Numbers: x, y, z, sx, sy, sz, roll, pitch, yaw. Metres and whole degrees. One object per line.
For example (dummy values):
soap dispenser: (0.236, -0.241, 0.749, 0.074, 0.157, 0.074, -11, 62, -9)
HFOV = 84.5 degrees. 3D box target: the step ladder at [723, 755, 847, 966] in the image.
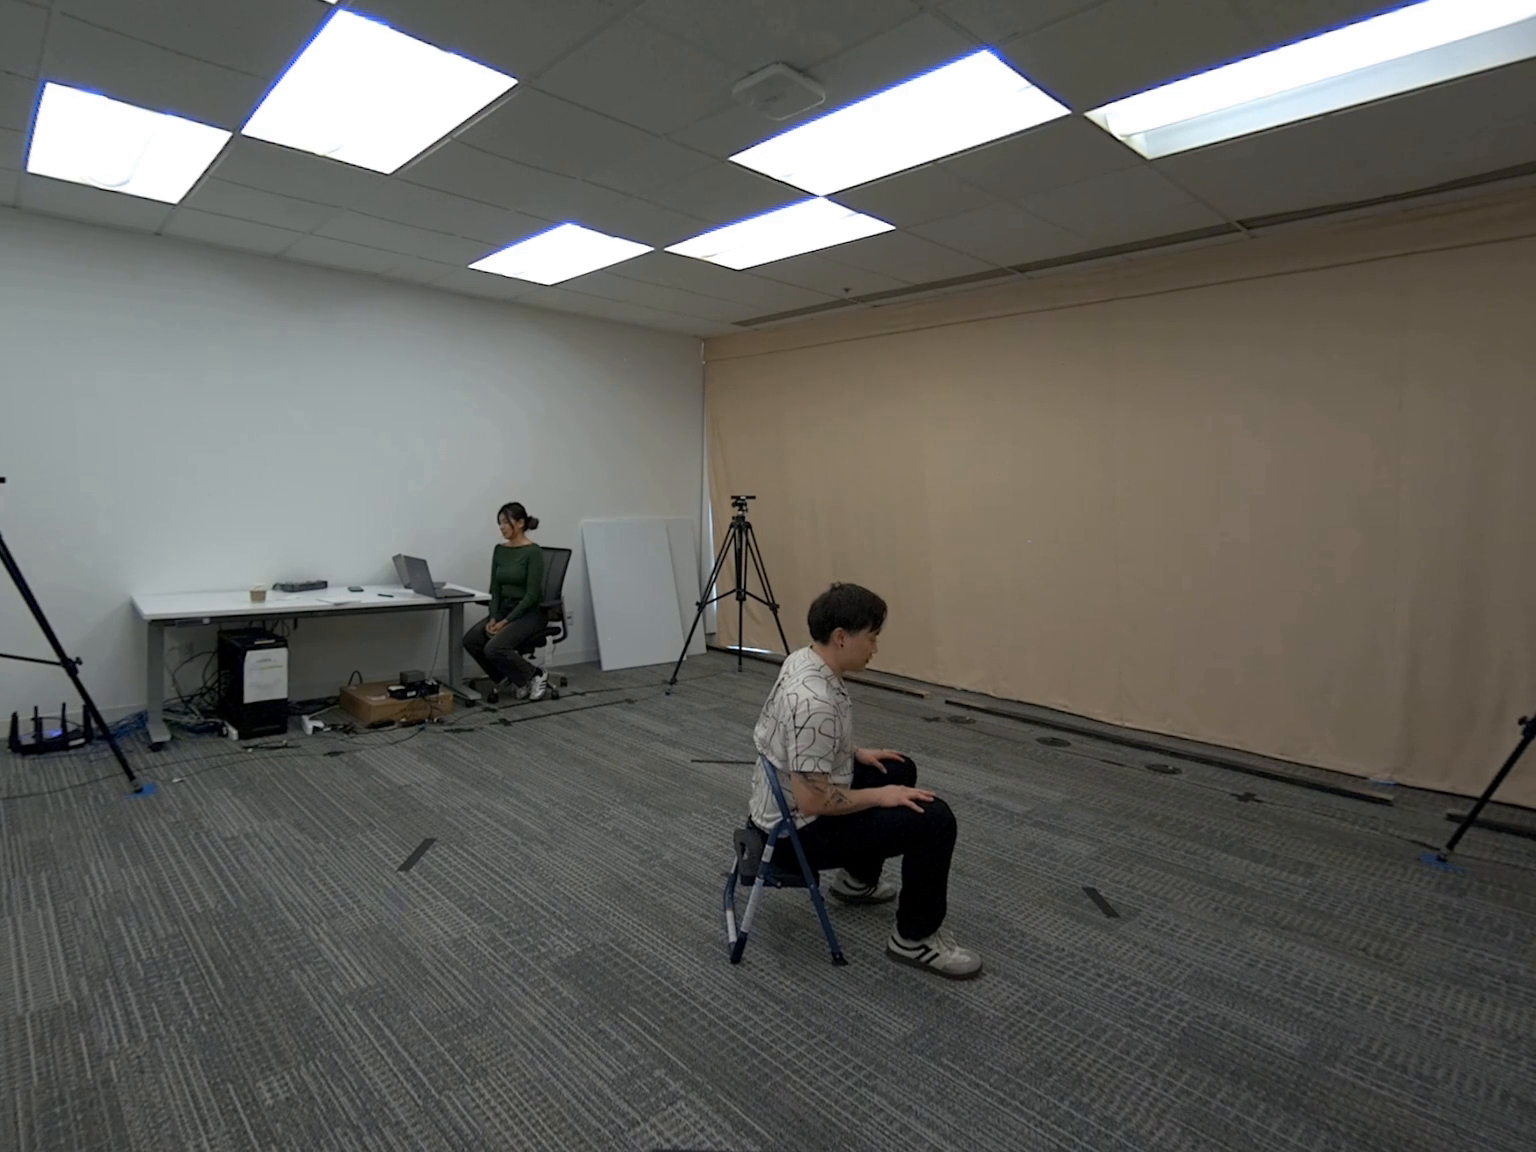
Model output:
step ladder: (0.040, 0.845, 2.699, 0.347, 0.604, 0.434, 1, 5, -7)
